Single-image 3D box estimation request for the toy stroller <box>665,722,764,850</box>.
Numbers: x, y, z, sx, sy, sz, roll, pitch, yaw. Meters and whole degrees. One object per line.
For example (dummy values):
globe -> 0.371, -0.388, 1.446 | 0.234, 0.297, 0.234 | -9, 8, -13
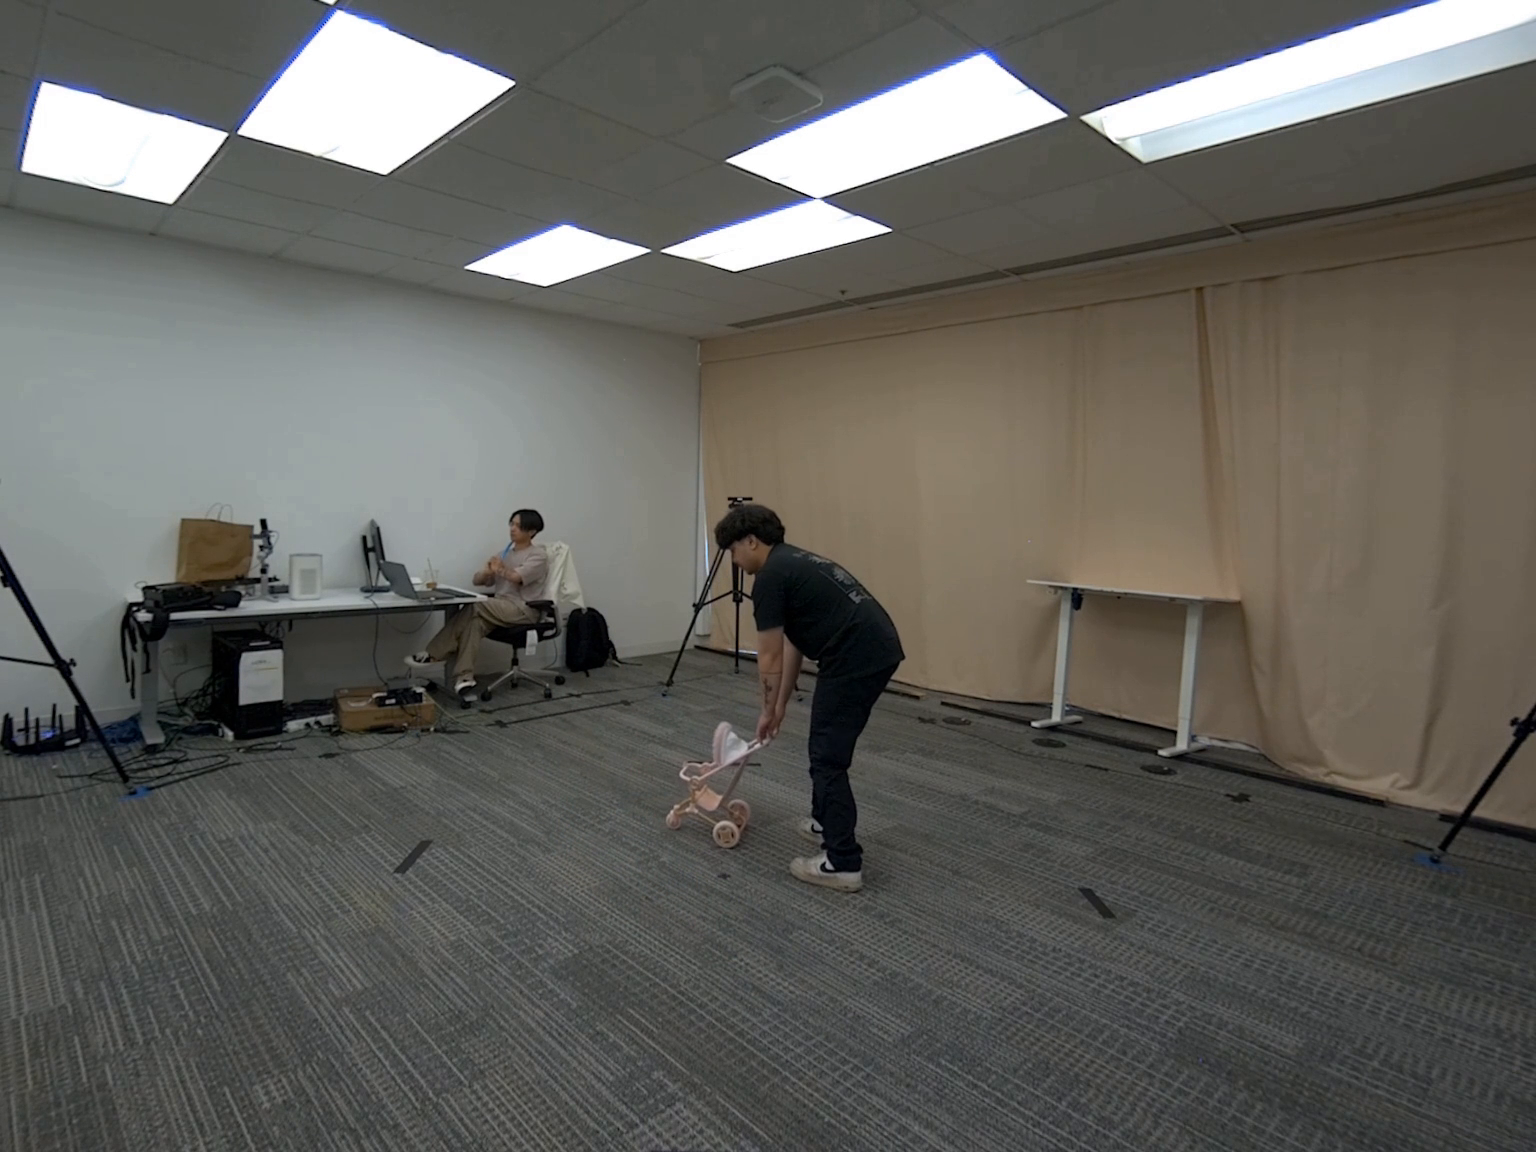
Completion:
toy stroller -> -0.216, 0.848, 3.488 | 0.346, 0.533, 0.278 | 18, 7, 15
